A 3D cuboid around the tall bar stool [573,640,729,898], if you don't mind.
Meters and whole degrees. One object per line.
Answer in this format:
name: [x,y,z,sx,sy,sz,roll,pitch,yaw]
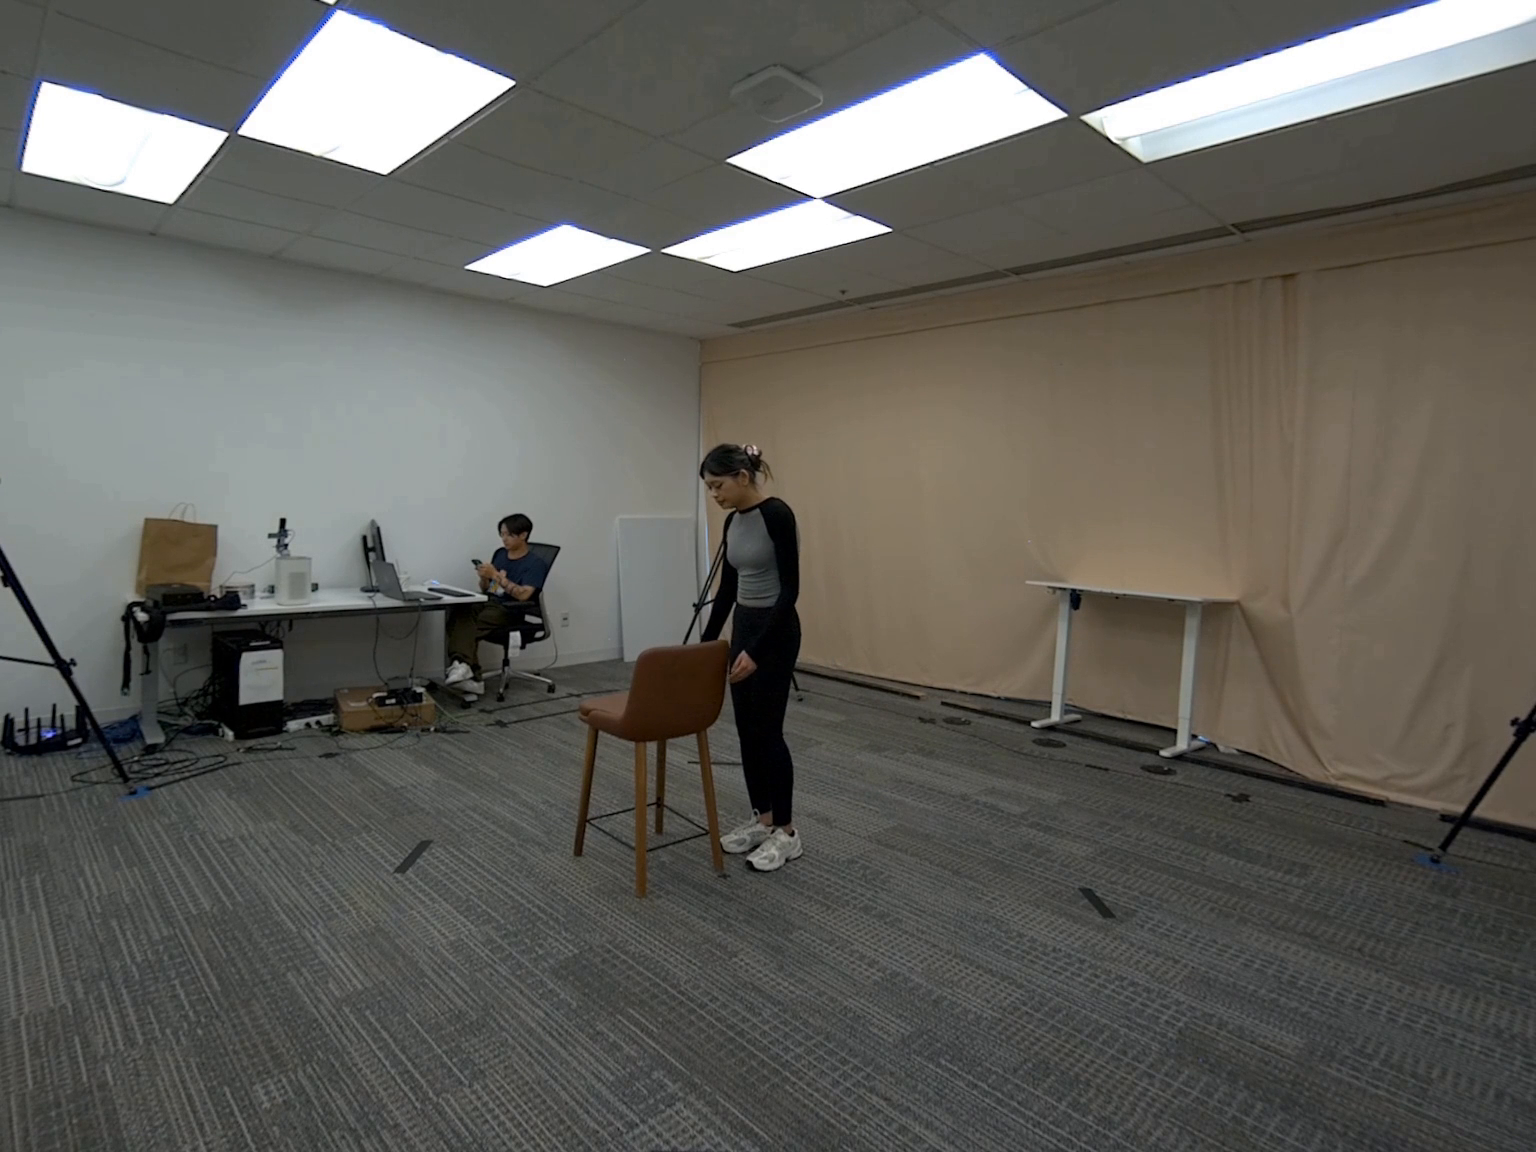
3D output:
tall bar stool: [-0.449,0.660,3.170,0.446,0.887,0.480,-2,6,-41]
